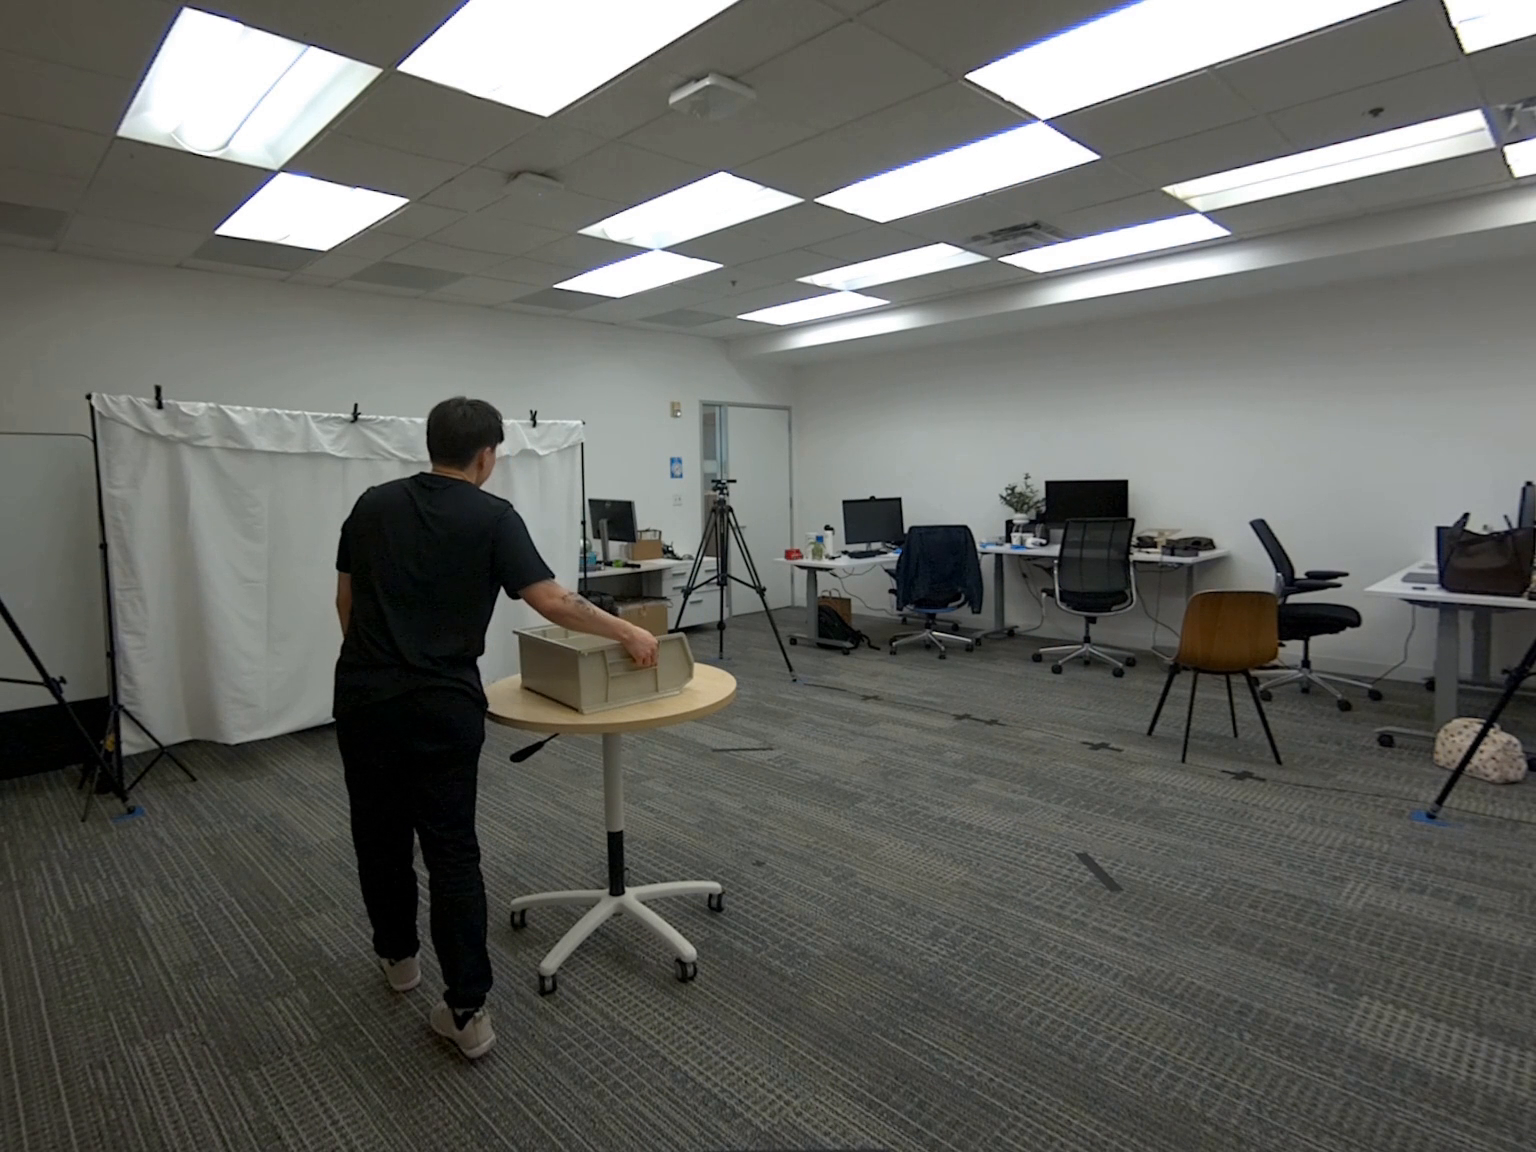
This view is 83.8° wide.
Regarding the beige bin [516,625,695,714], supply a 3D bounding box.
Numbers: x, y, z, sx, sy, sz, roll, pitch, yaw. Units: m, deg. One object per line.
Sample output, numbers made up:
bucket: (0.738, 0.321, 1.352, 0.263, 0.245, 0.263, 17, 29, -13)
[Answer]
beige bin: (-0.488, 0.249, 2.538, 0.368, 0.188, 0.435, -8, 9, -38)
